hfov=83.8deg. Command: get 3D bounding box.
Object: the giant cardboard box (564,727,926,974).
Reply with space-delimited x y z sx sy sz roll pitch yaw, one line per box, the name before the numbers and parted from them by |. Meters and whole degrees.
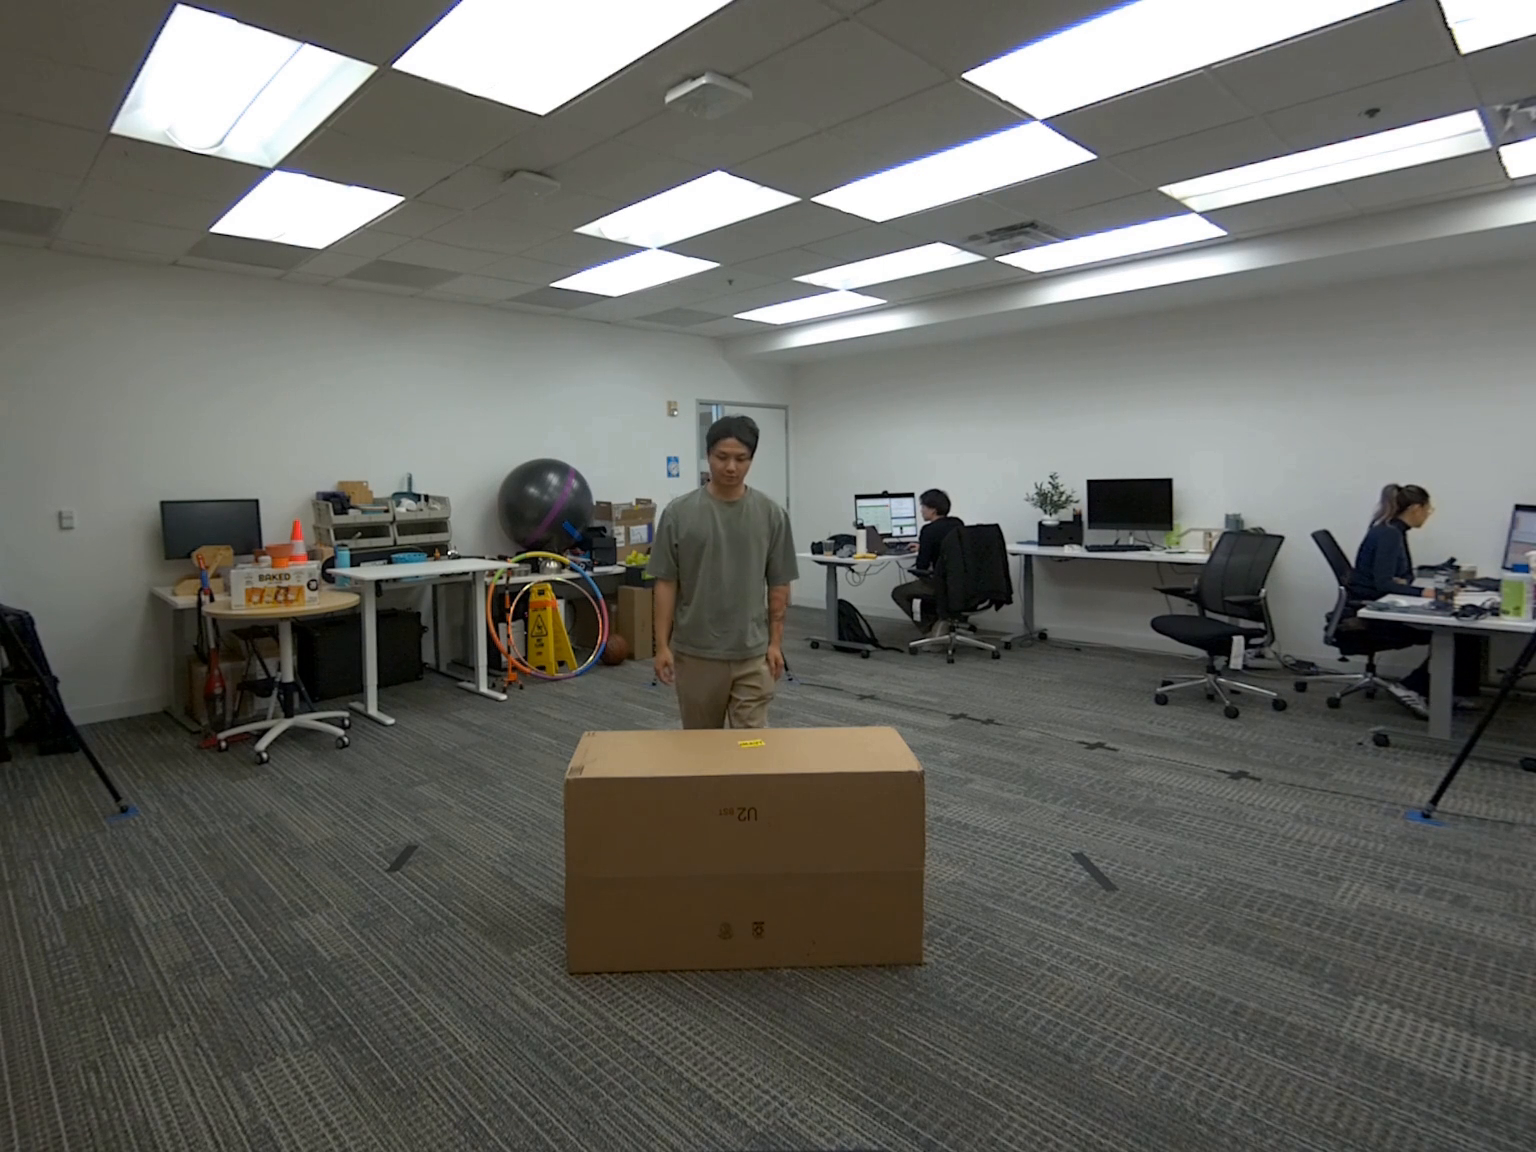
giant cardboard box | -0.078 0.810 2.625 1.024 0.575 0.429 -1 5 -2
